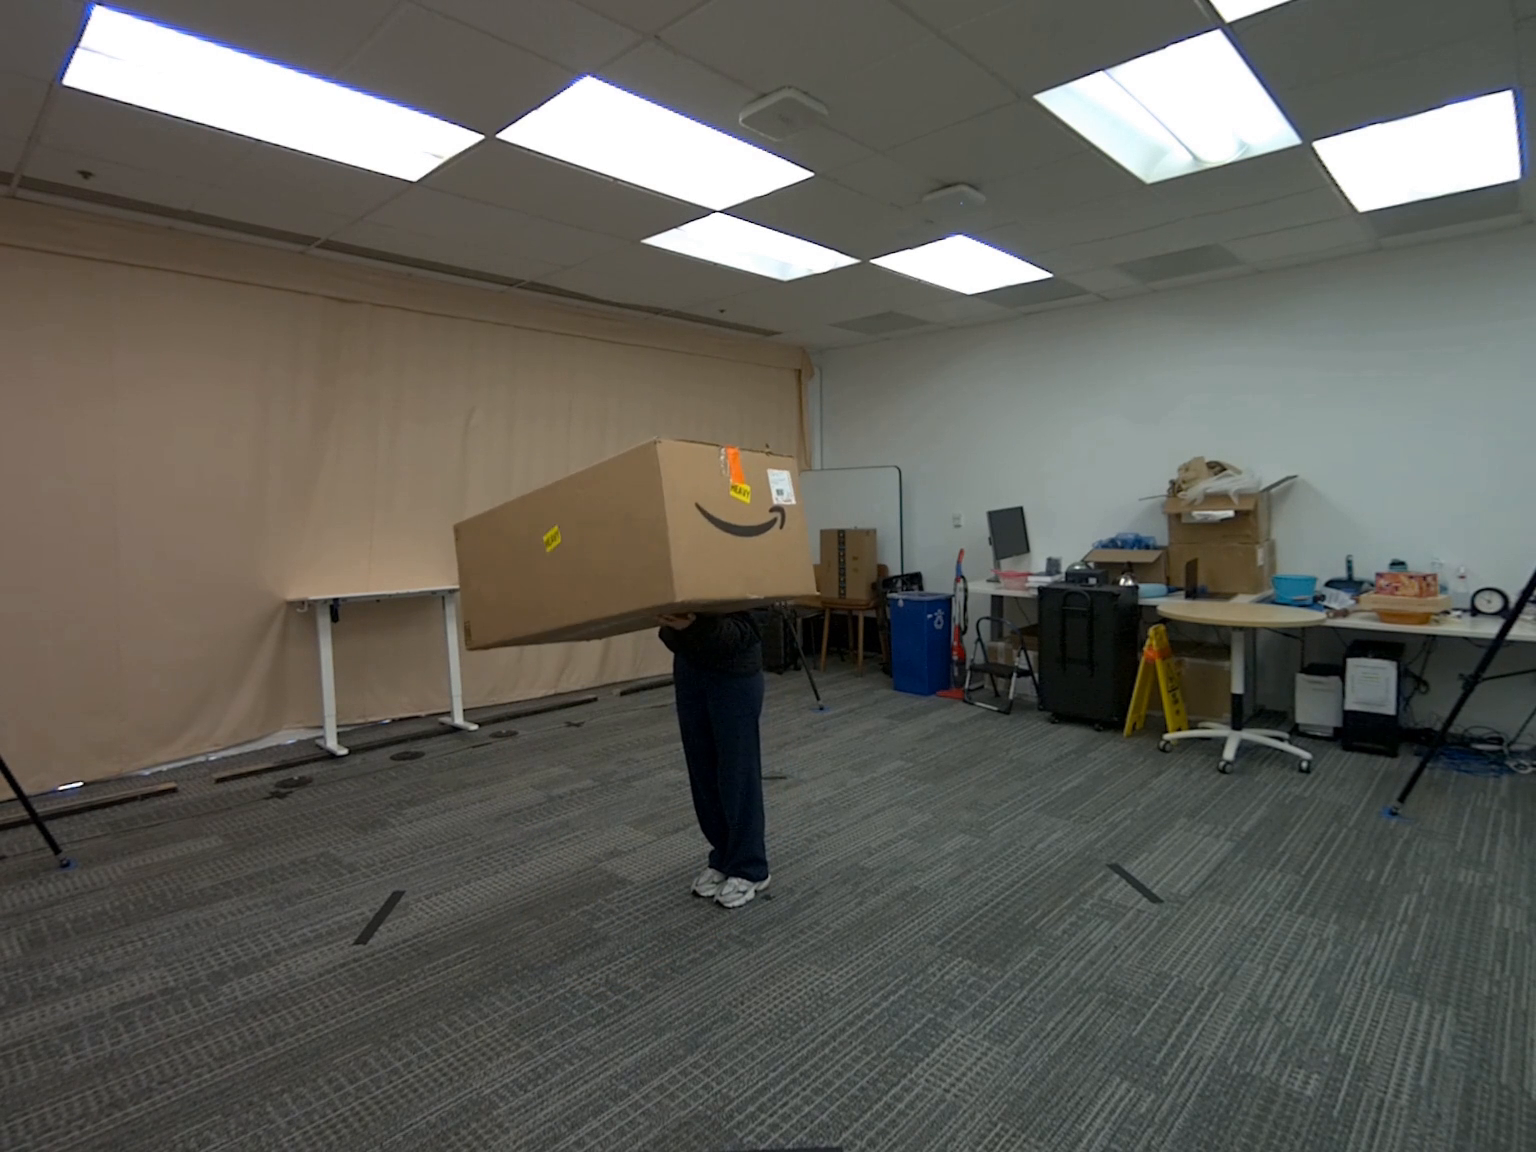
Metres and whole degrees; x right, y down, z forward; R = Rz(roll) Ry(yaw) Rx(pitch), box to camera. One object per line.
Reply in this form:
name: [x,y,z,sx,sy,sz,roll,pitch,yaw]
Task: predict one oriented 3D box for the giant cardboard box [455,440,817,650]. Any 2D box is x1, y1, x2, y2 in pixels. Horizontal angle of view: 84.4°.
giant cardboard box: [-0.430,-0.052,2.634,1.053,0.428,0.559,-13,-8,41]
